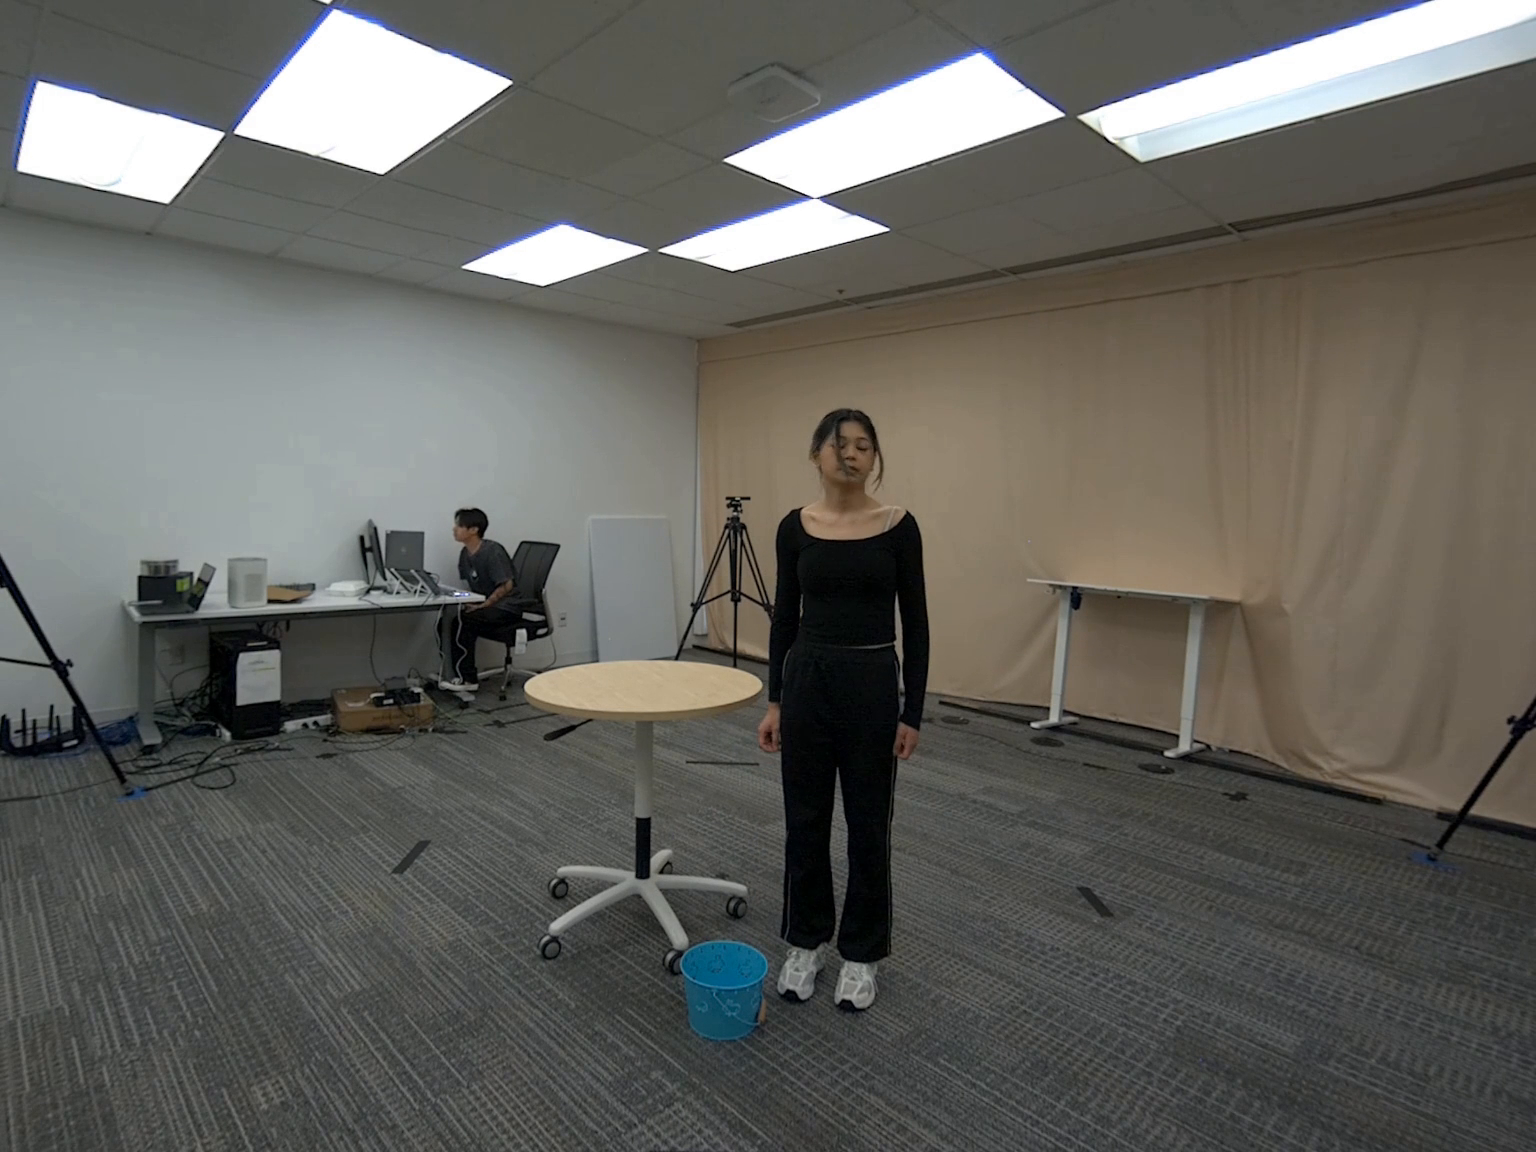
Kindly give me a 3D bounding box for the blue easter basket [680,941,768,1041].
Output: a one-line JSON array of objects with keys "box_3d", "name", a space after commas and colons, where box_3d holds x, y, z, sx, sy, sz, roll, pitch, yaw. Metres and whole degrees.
[{"box_3d": [-0.122, 1.109, 2.242, 0.243, 0.155, 0.244, 1, 5, -1], "name": "blue easter basket"}]
